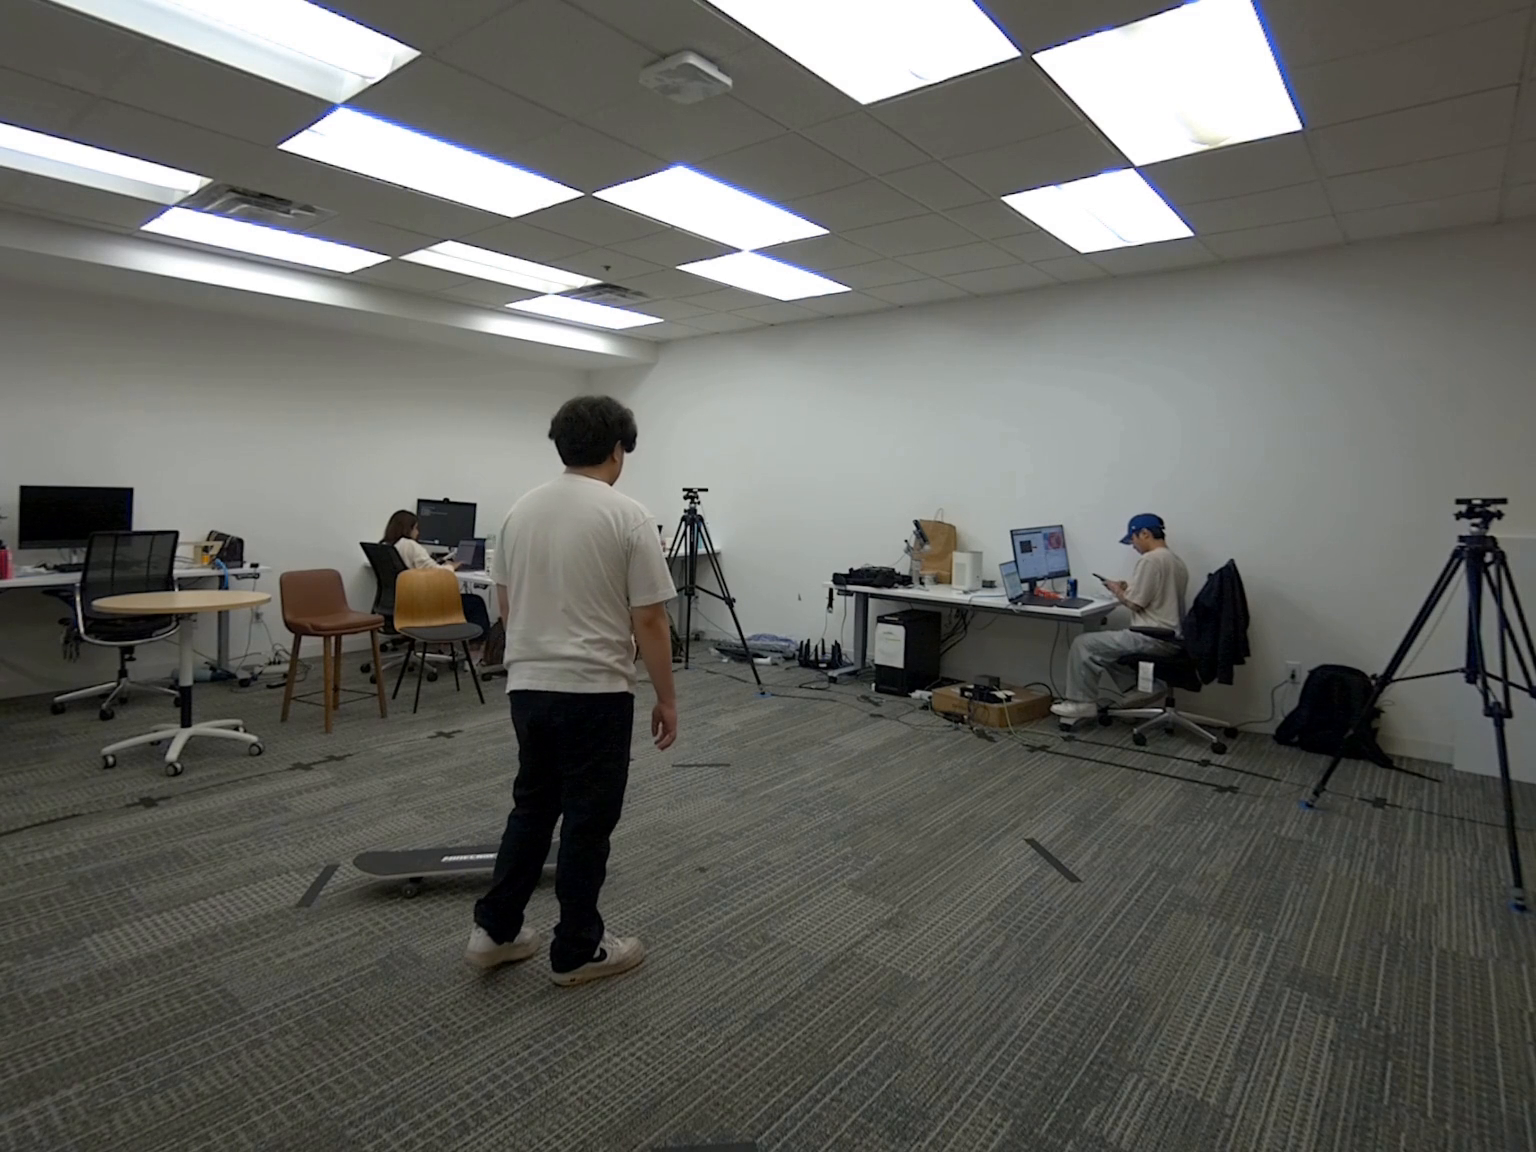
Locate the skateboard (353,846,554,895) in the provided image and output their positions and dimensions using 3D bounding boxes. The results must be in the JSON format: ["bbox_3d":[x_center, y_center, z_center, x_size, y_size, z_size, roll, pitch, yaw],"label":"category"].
[{"bbox_3d":[-1.039,1.012,2.971,0.776,0.110,0.196,0,5,-11],"label":"skateboard"}]
